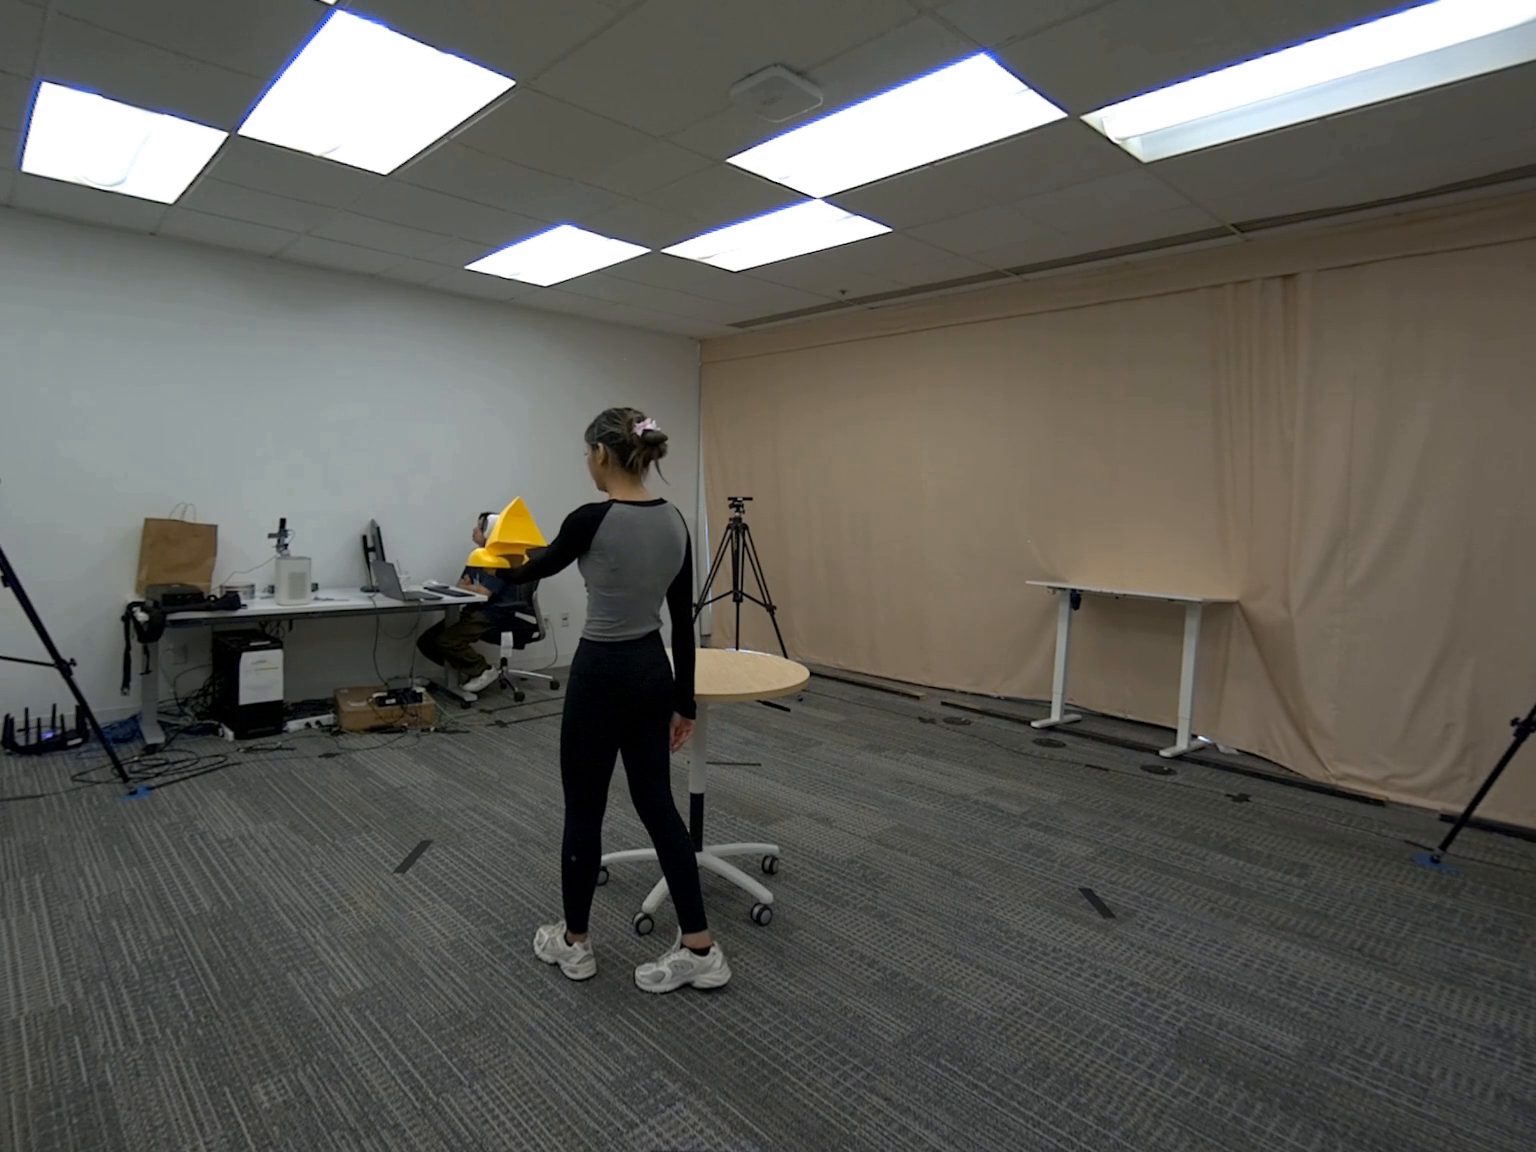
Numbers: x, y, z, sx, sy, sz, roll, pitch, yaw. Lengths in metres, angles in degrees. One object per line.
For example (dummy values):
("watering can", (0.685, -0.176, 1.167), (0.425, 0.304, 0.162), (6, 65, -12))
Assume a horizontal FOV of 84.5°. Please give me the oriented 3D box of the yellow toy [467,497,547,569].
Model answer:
("yellow toy", (-0.859, -0.140, 2.708), (0.197, 0.231, 0.200), (2, -1, 35))
